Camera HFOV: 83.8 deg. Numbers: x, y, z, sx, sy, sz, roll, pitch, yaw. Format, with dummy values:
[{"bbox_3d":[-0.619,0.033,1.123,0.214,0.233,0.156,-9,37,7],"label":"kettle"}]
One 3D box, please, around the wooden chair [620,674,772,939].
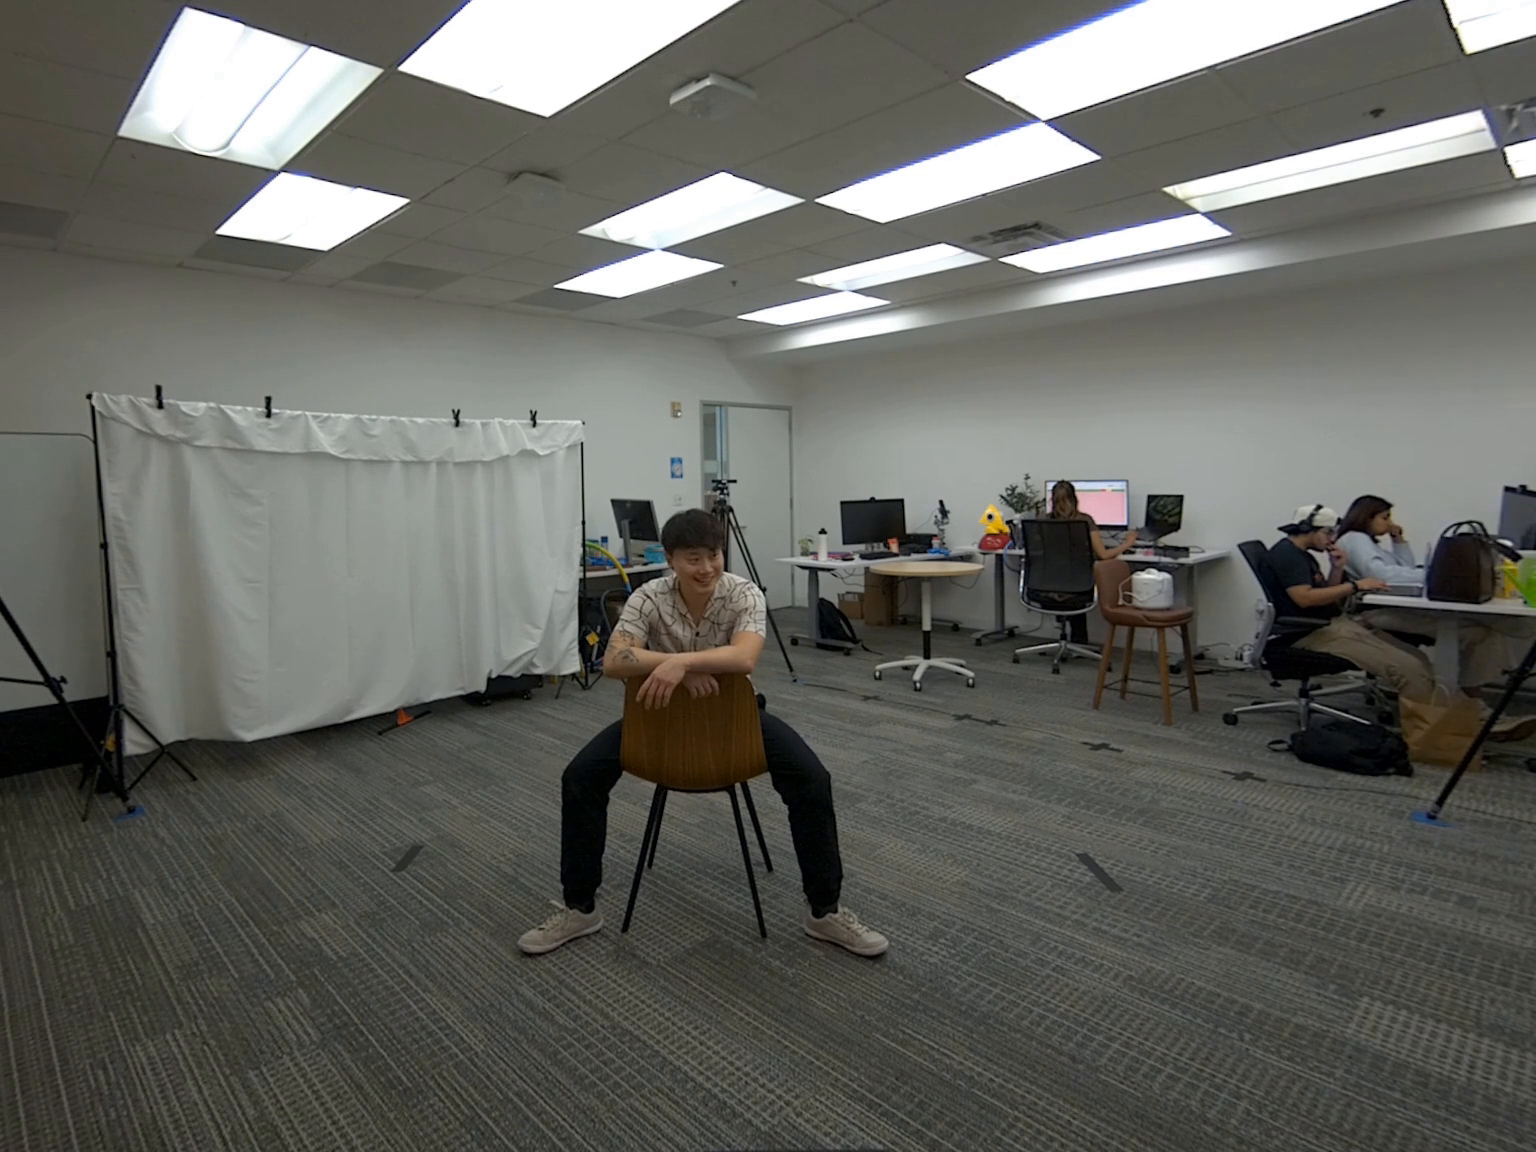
[{"bbox_3d":[-0.225,0.666,2.831,0.480,0.870,0.525,-1,9,4],"label":"wooden chair"}]
